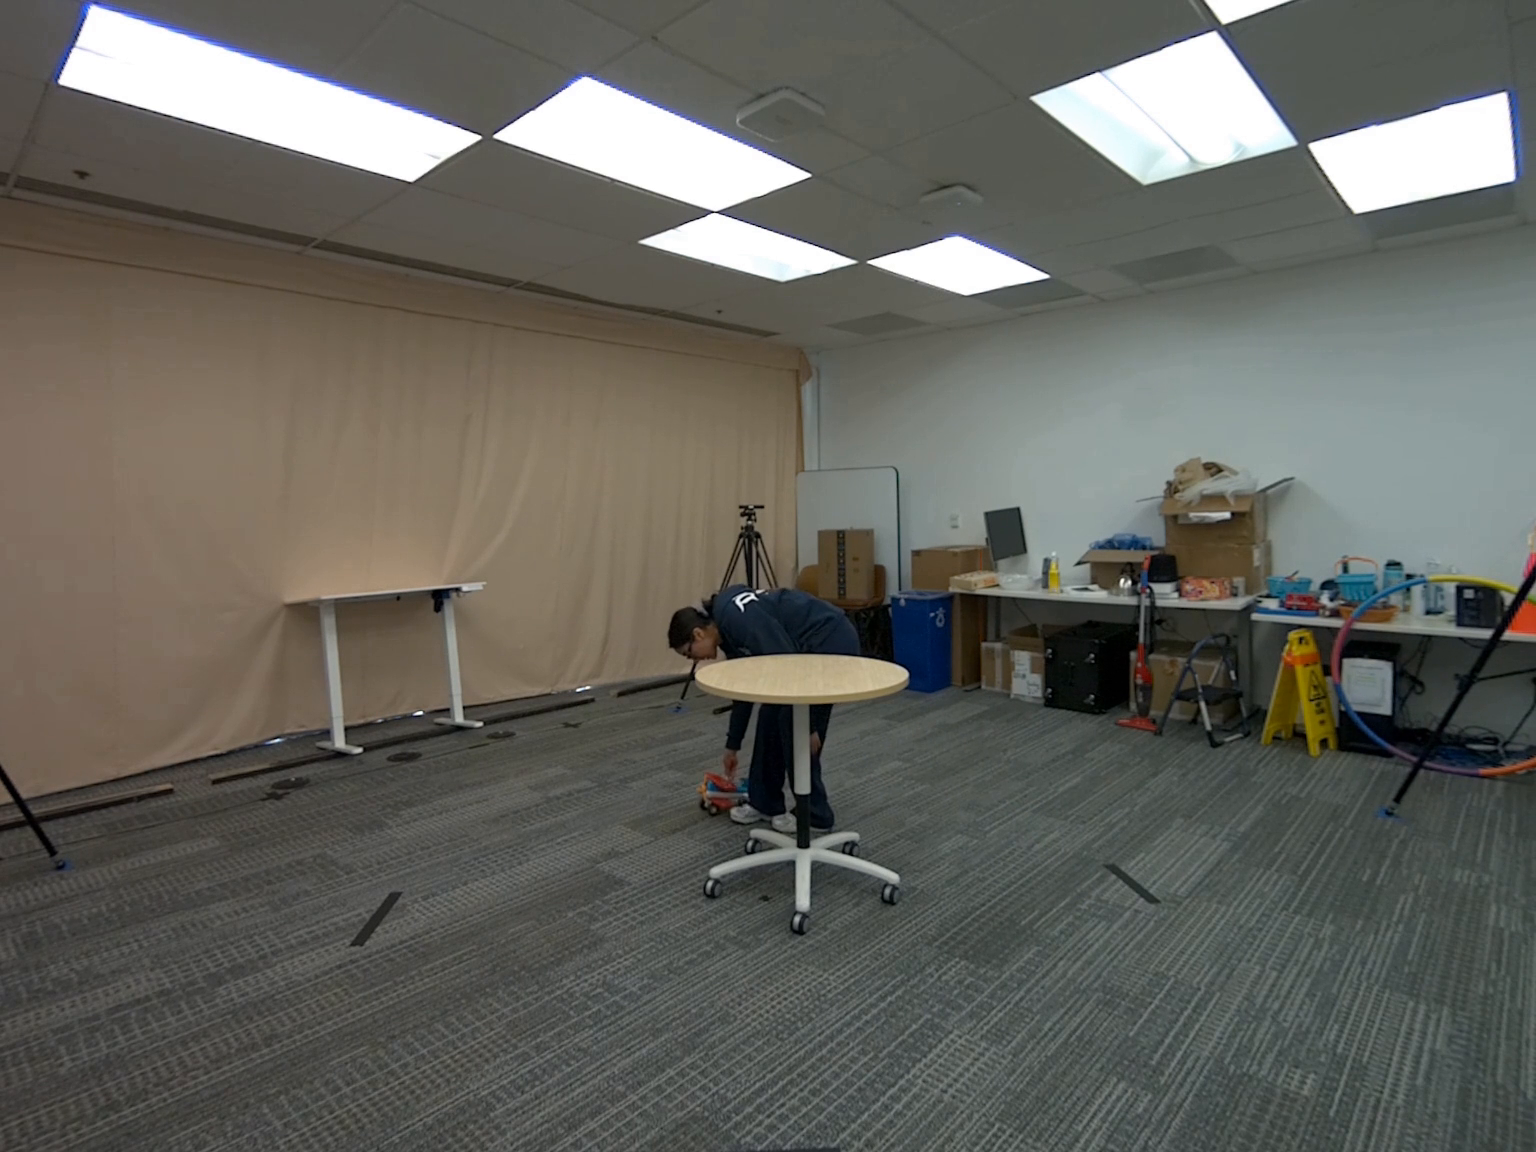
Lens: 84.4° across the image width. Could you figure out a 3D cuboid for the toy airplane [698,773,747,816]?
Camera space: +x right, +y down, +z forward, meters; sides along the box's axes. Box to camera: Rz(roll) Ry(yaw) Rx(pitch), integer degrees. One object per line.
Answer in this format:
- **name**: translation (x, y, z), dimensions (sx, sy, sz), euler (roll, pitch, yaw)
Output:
- **toy airplane**: translation (-0.200, 1.000, 3.884), dimensions (0.259, 0.156, 0.252), euler (1, 5, 35)
